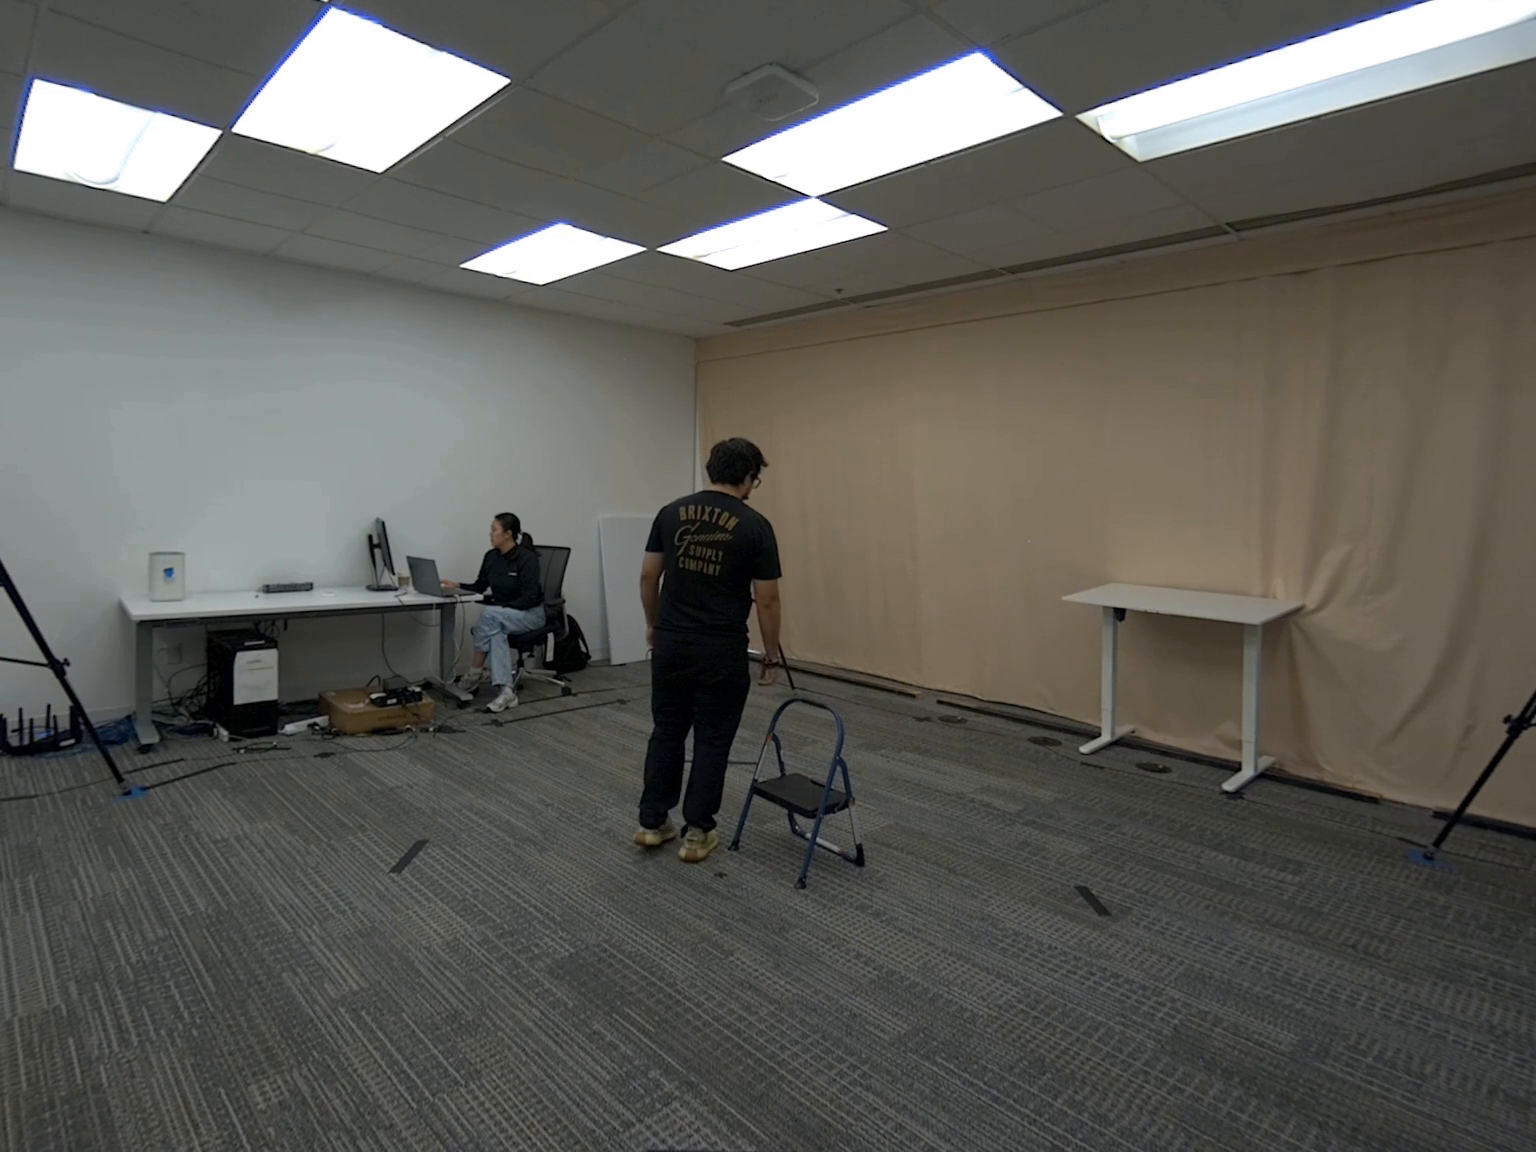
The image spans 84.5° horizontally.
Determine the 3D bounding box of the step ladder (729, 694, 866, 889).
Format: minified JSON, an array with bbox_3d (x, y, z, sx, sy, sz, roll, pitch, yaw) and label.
[{"bbox_3d":[0.113,0.791,3.254,0.341,0.604,0.441,-1,5,-38],"label":"step ladder"}]
